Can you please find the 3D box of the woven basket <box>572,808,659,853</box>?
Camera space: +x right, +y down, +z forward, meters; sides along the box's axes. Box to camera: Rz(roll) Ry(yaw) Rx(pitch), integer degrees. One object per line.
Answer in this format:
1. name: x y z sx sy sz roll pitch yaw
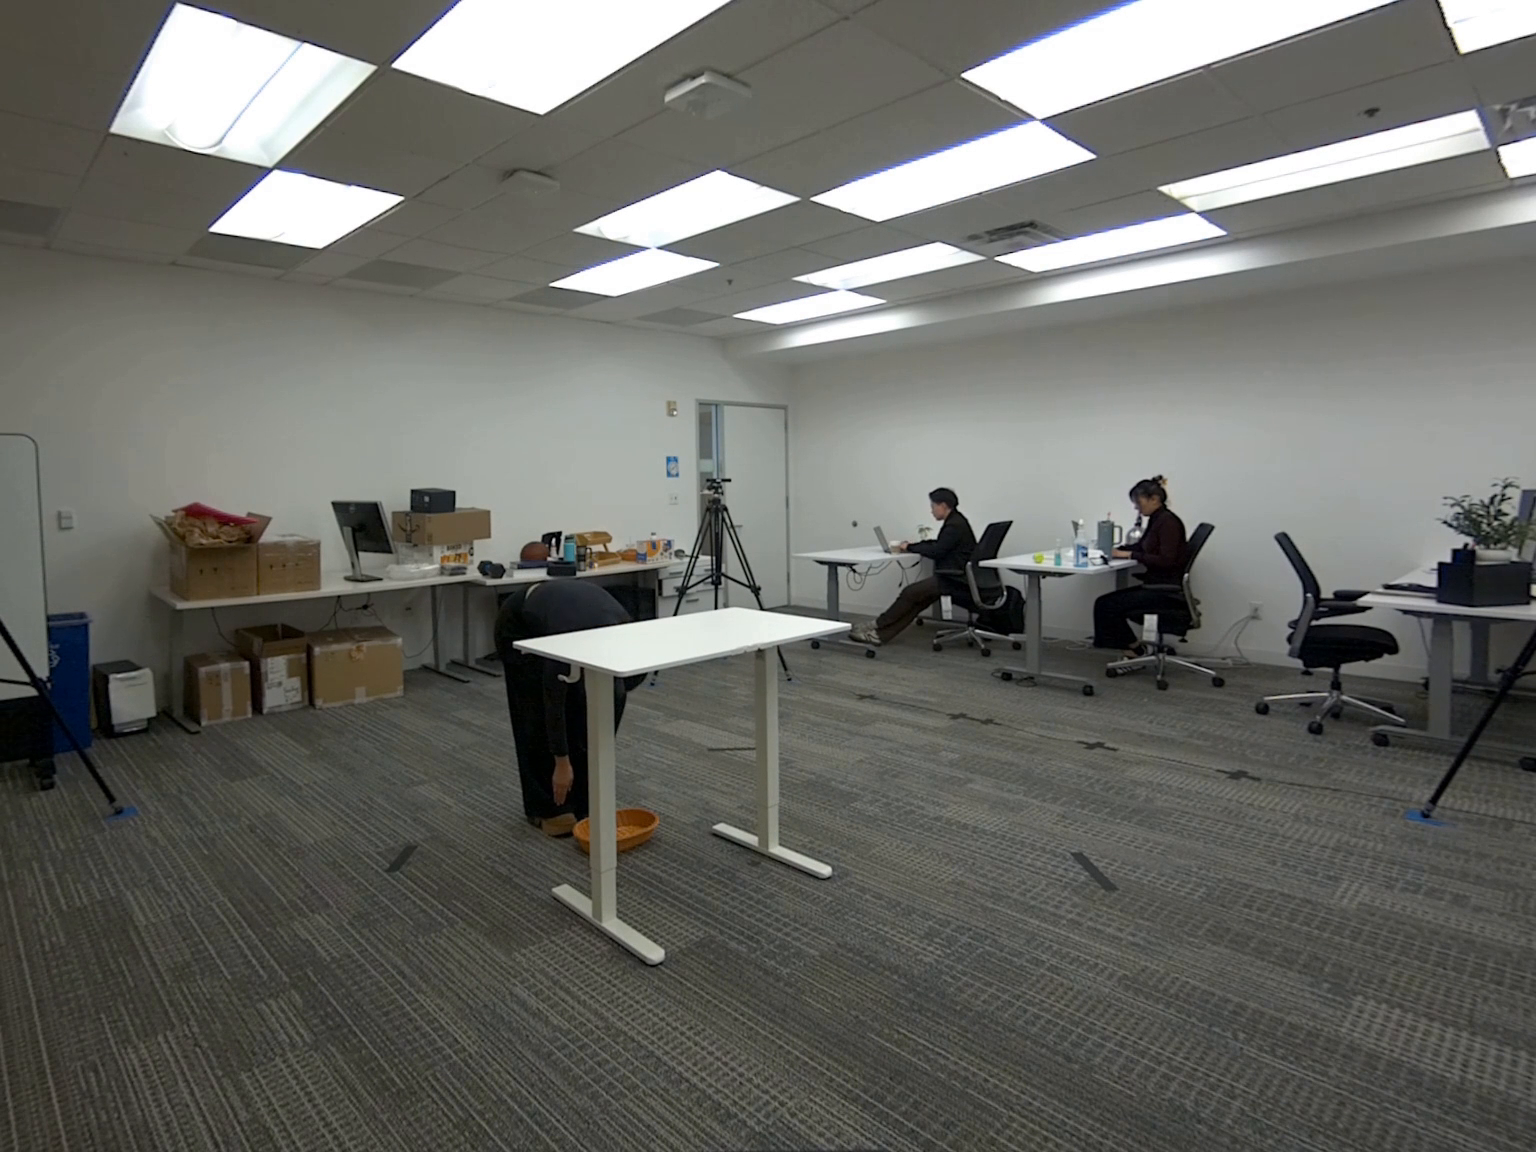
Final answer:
1. woven basket: -0.589 0.984 3.306 0.341 0.073 0.260 -6 9 -36
